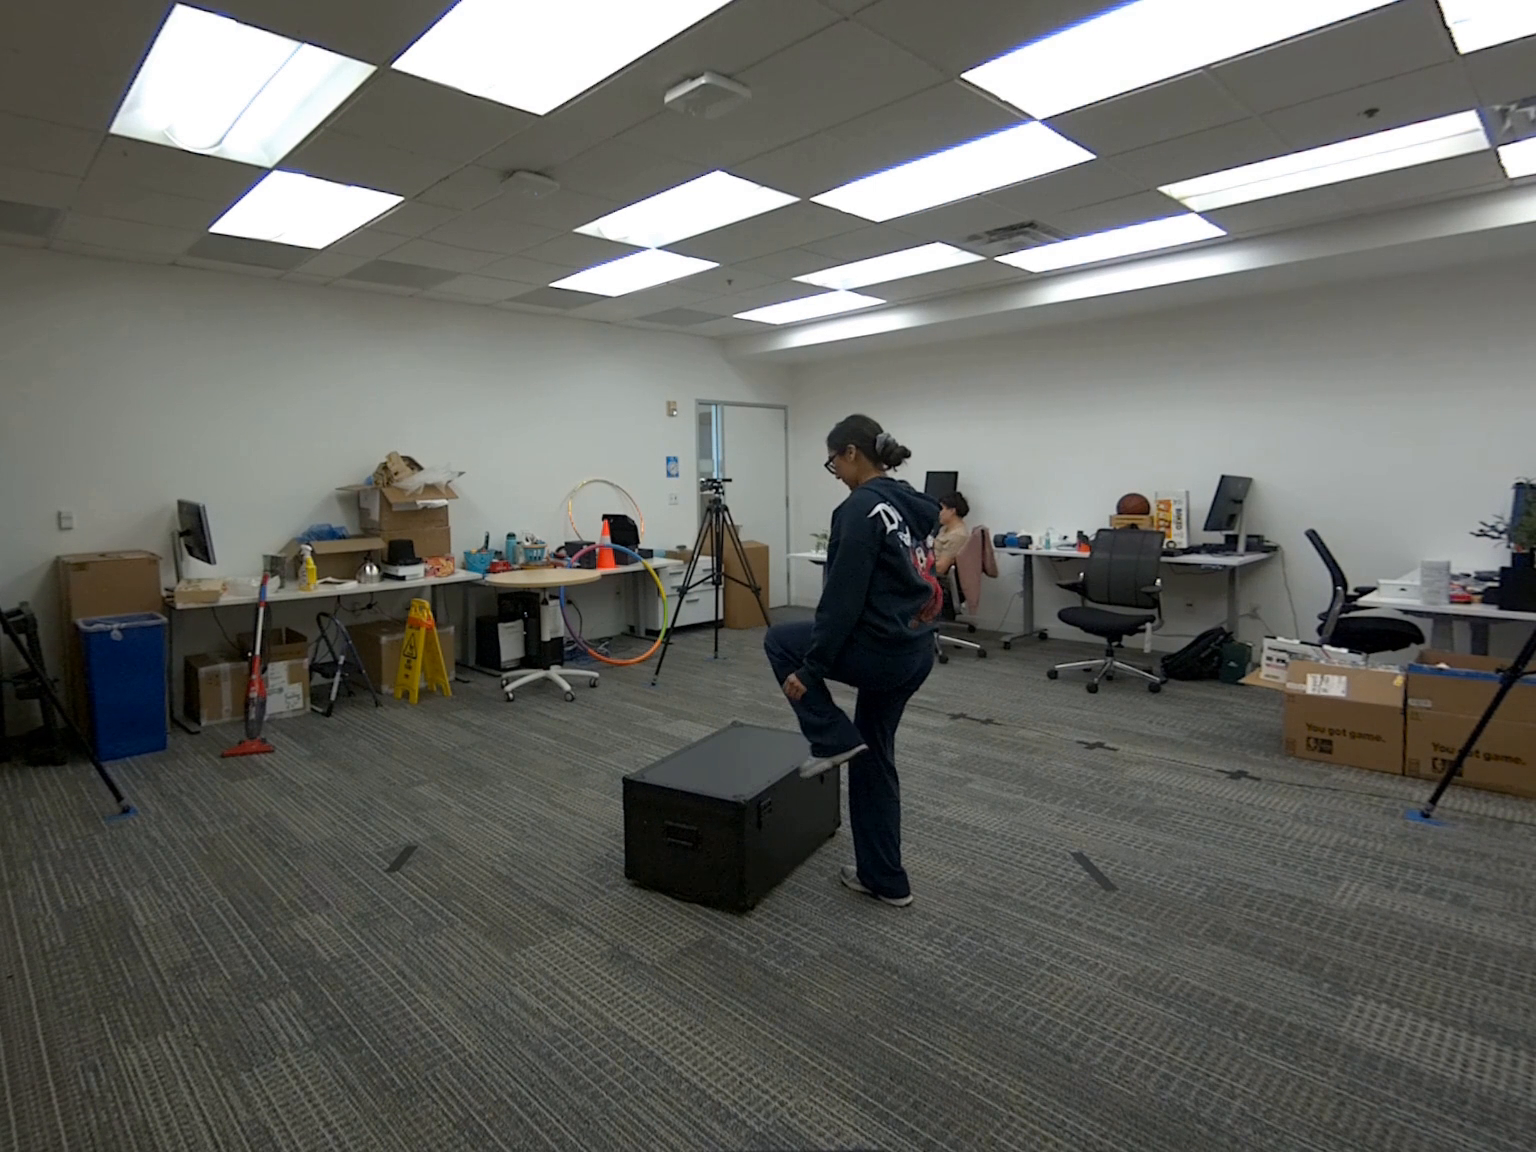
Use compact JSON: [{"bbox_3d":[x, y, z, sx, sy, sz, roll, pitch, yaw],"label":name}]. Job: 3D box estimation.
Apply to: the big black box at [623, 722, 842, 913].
[{"bbox_3d":[-0.087,0.845,3.182,0.534,0.394,0.844,2,7,28],"label":"big black box"}]
